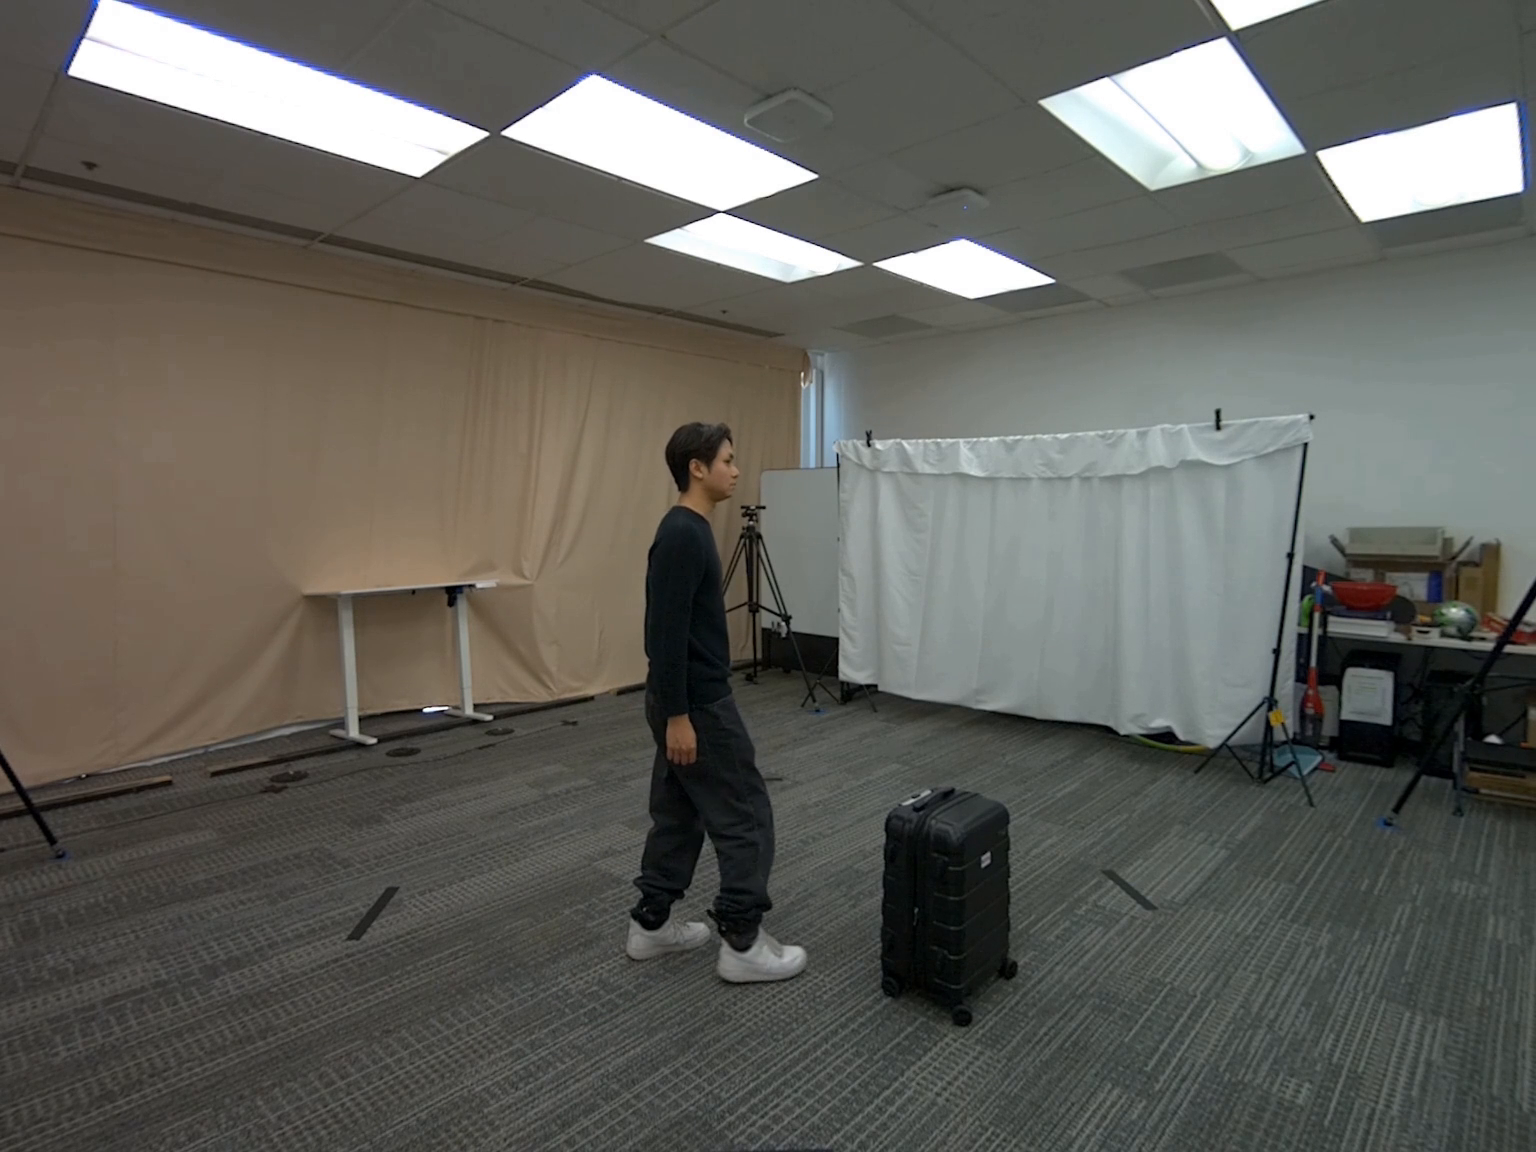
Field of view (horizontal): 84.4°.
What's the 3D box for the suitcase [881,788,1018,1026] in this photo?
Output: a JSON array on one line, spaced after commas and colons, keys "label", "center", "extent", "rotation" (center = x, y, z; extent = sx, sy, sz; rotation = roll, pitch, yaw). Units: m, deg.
[{"label": "suitcase", "center": [0.527, 0.916, 2.425], "extent": [0.256, 0.548, 0.364], "rotation": [3, 5, 43]}]
